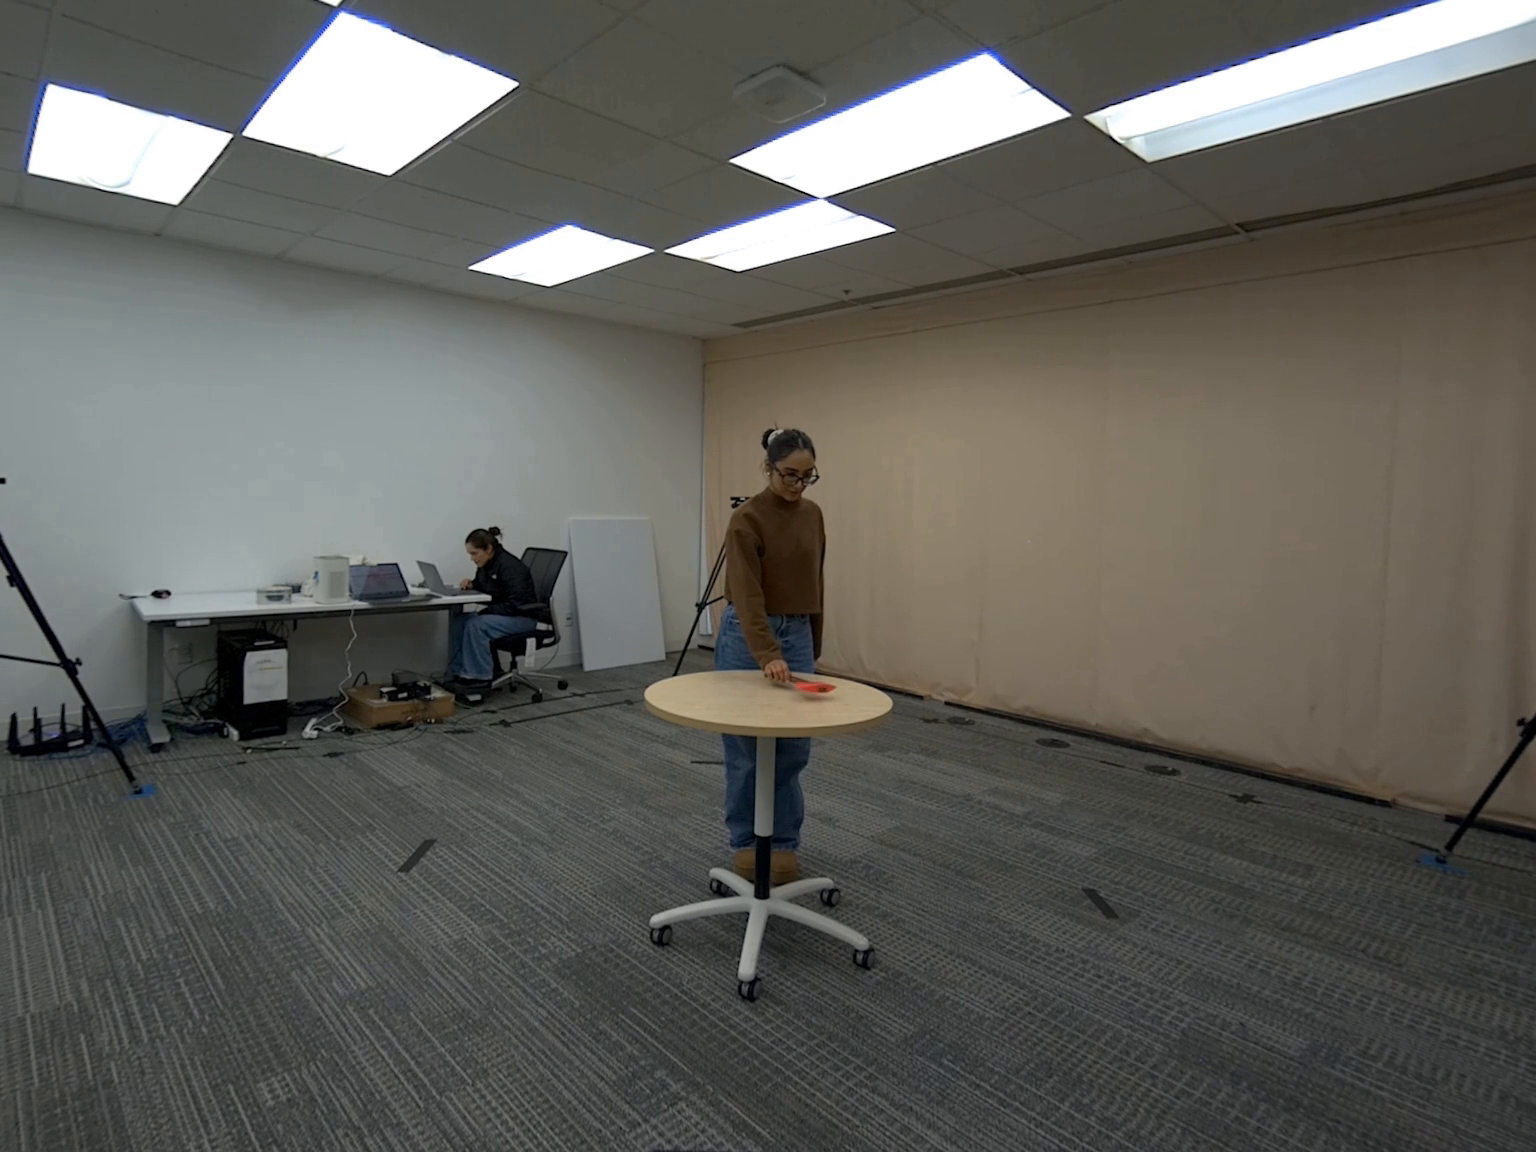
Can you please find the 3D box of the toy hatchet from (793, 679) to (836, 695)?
[{"bbox_3d":[0.107,0.341,2.670,0.129,0.029,0.274,2,1,-18],"label":"toy hatchet"}]
